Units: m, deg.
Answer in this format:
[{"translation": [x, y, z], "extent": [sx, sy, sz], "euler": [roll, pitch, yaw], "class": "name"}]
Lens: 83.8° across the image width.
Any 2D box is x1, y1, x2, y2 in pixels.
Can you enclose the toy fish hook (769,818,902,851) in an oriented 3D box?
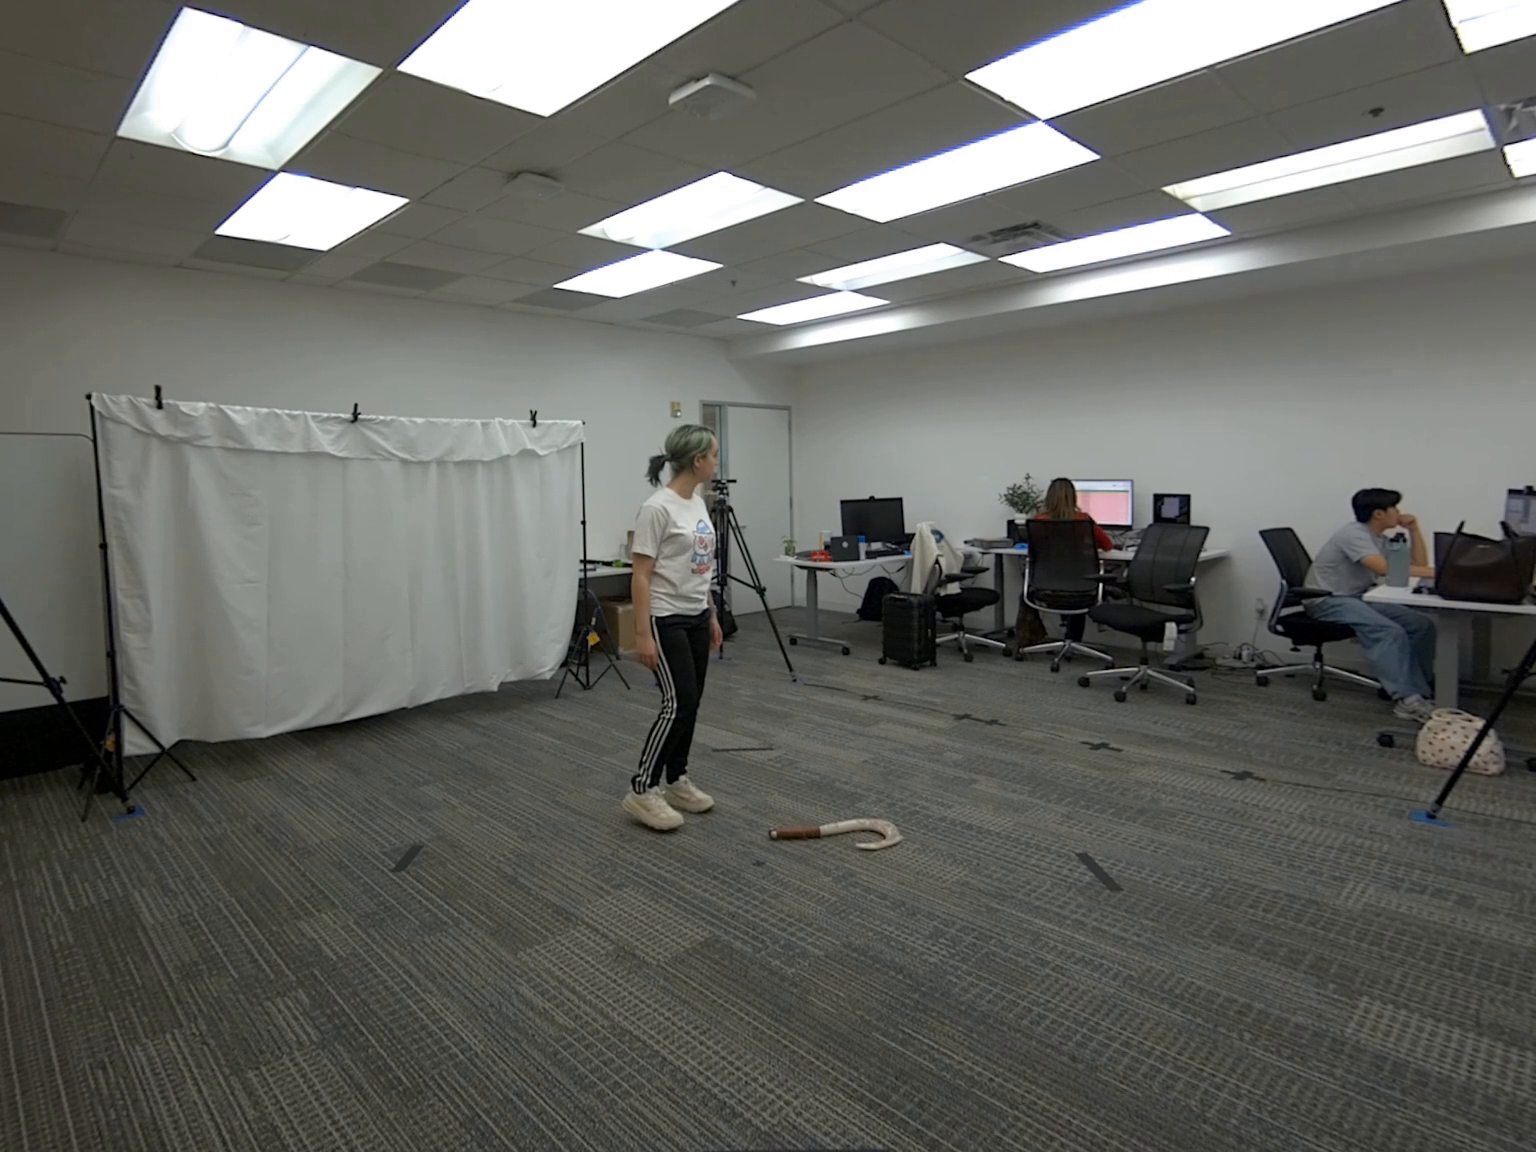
[{"translation": [0.262, 0.997, 3.289], "extent": [0.504, 0.048, 0.227], "euler": [-3, 5, -6], "class": "toy fish hook"}]
